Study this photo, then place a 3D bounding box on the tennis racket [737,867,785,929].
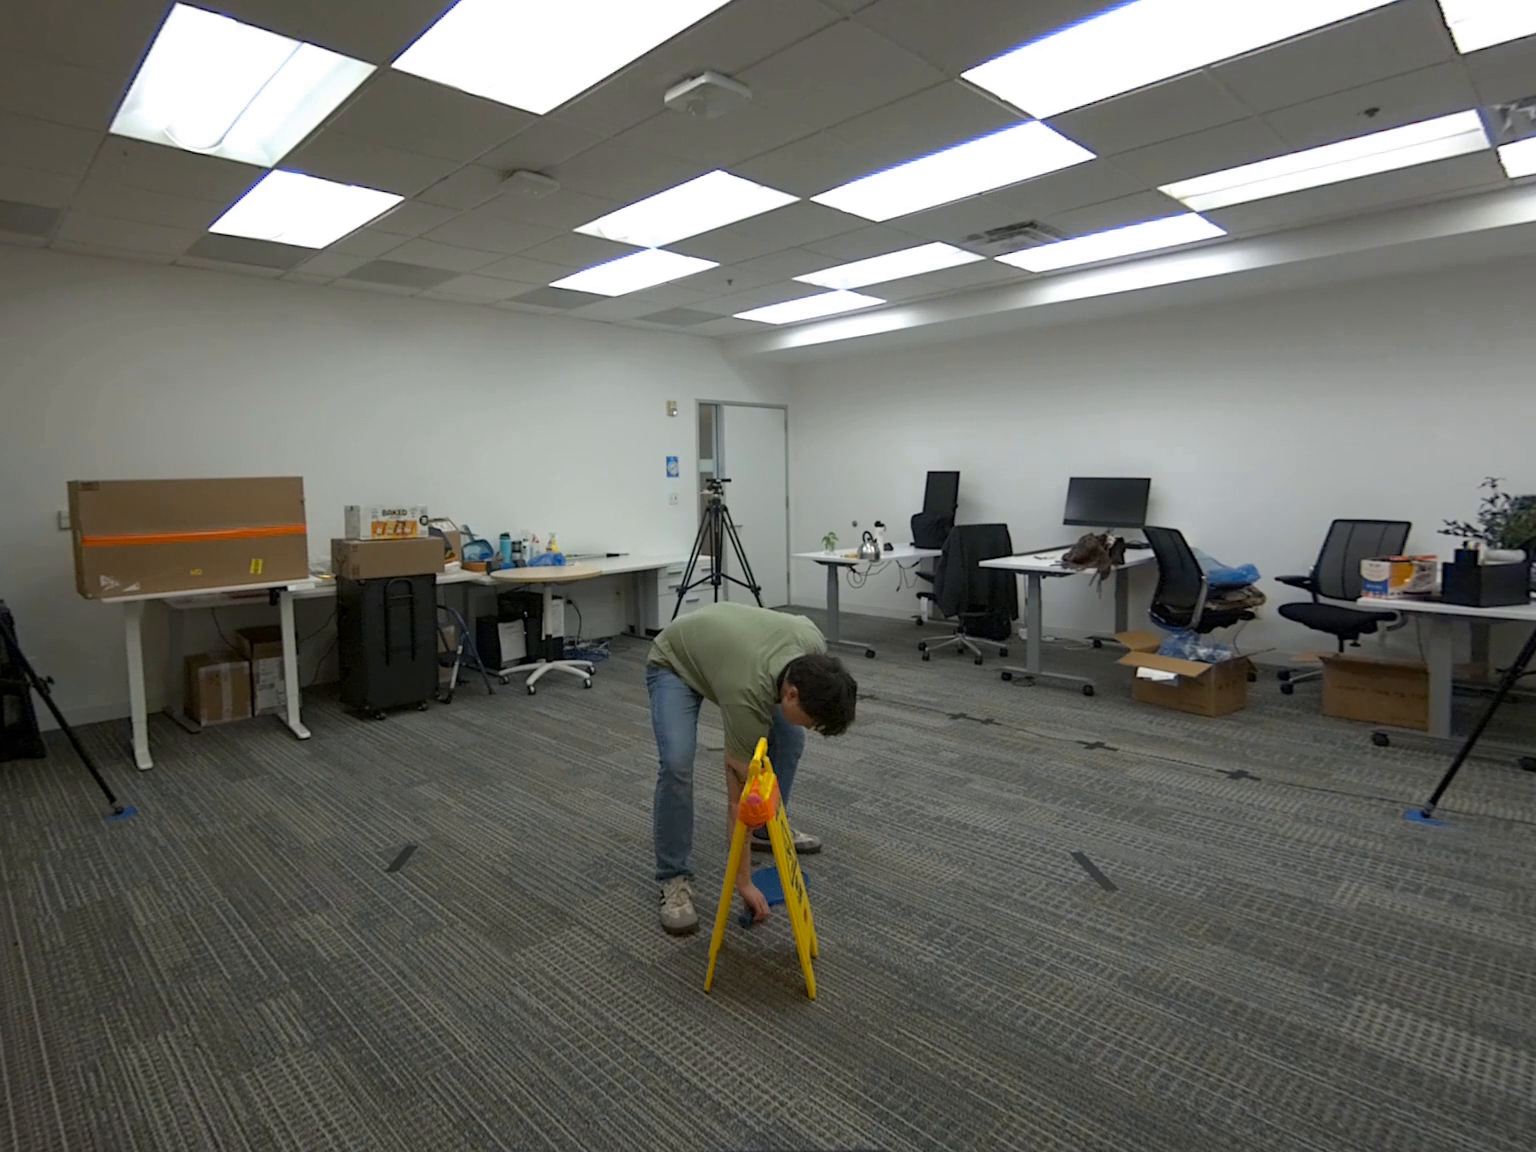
[{"bbox_3d":[0.000,1.049,2.861,0.218,0.032,0.424,1,4,23],"label":"tennis racket"}]
